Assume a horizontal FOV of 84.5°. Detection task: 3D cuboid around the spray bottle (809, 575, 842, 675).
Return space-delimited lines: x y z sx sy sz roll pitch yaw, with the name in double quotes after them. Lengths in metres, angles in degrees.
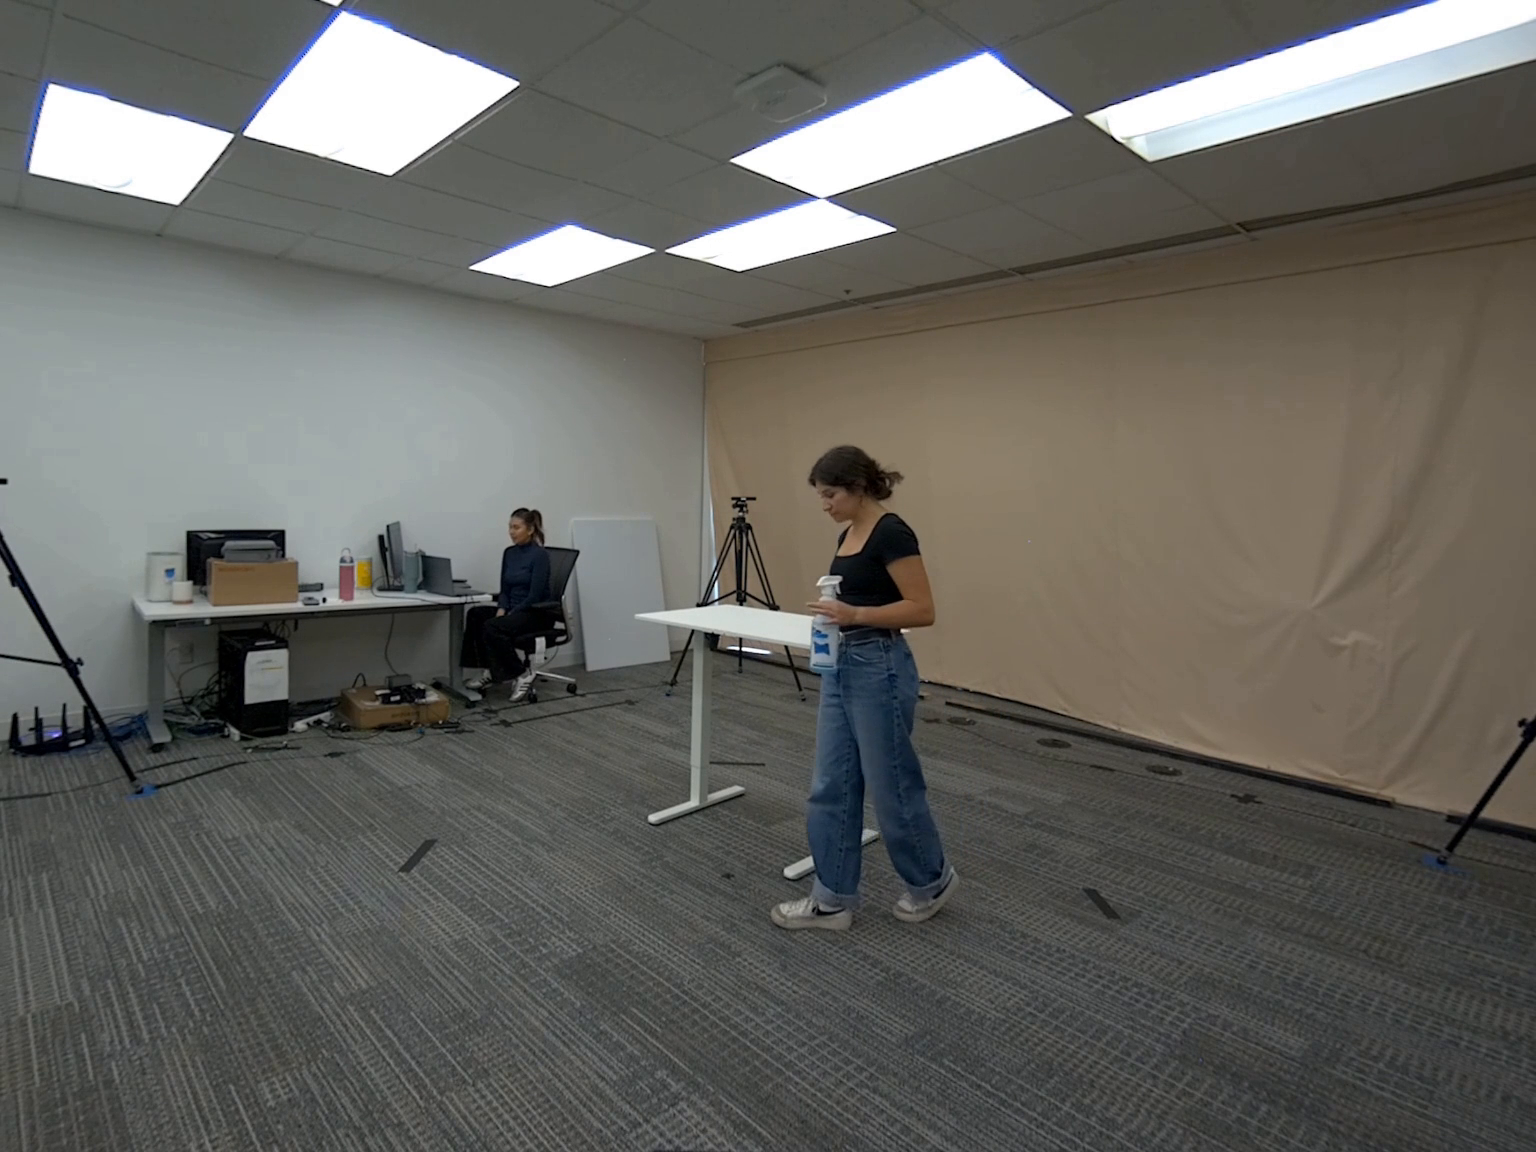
0.175 0.148 2.586 0.089 0.297 0.087 4 3 -6 "spray bottle"
